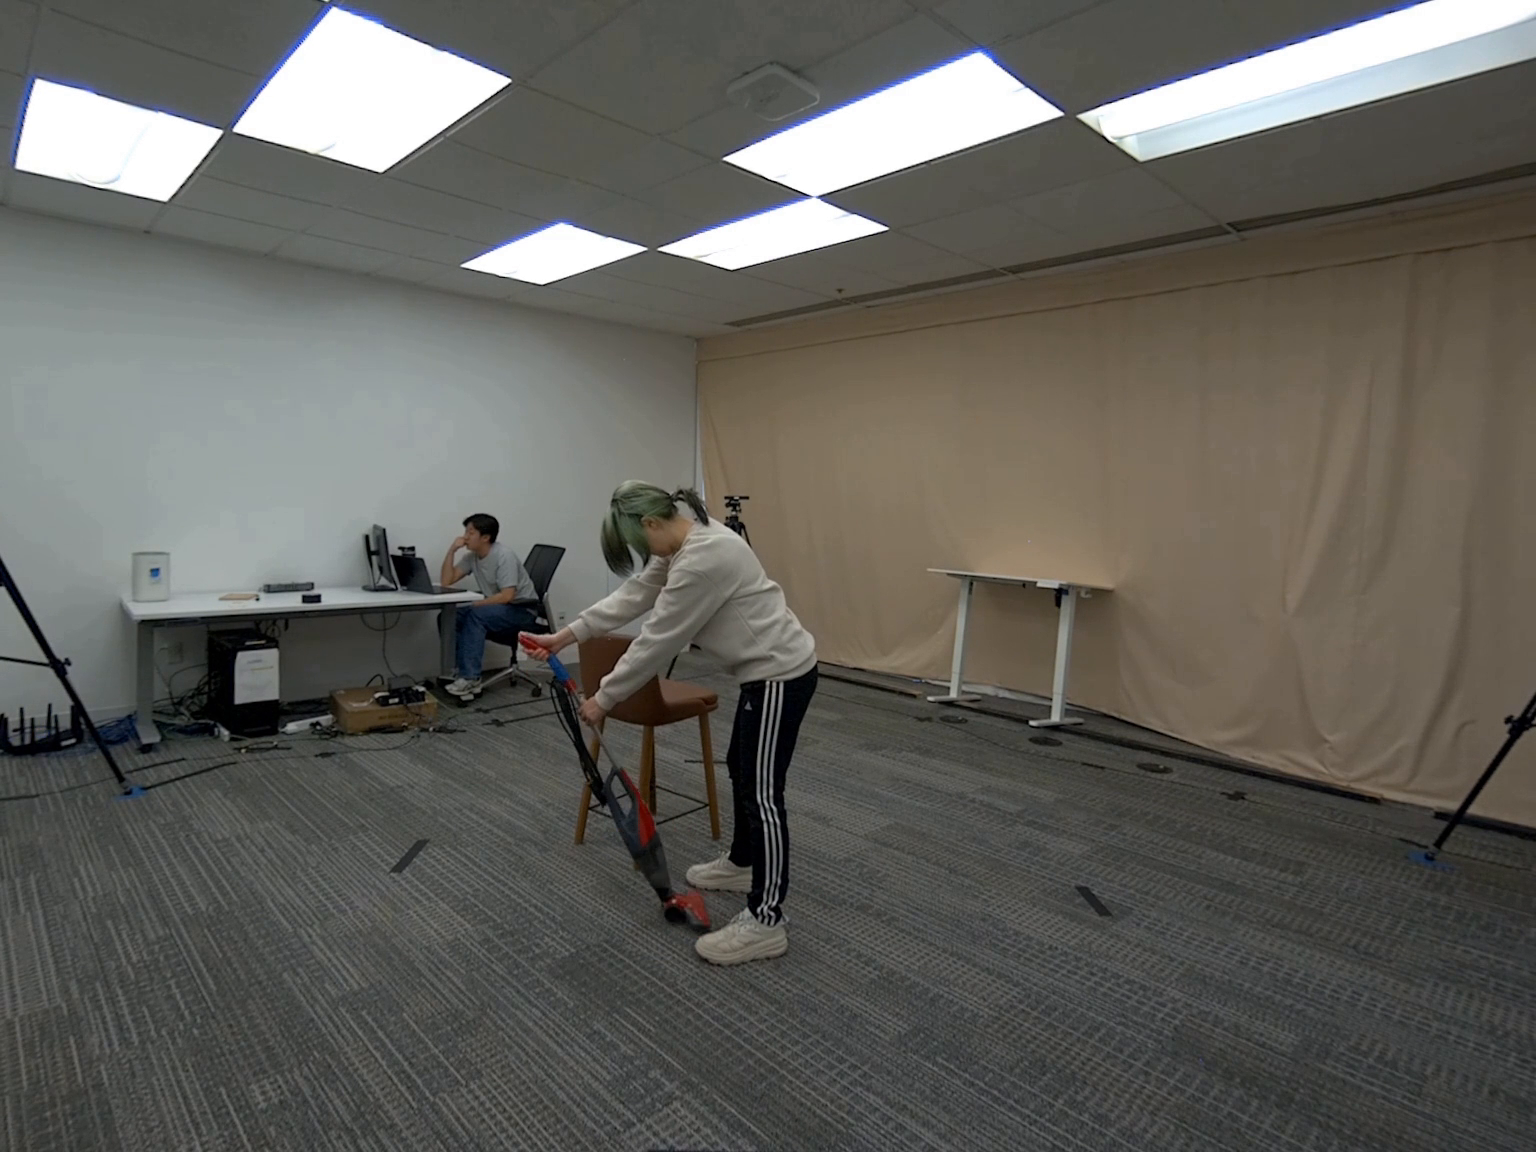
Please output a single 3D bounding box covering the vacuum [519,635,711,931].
[{"bbox_3d":[-0.536,0.658,2.744,0.143,1.043,0.255,-31,6,-16],"label":"vacuum"}]
